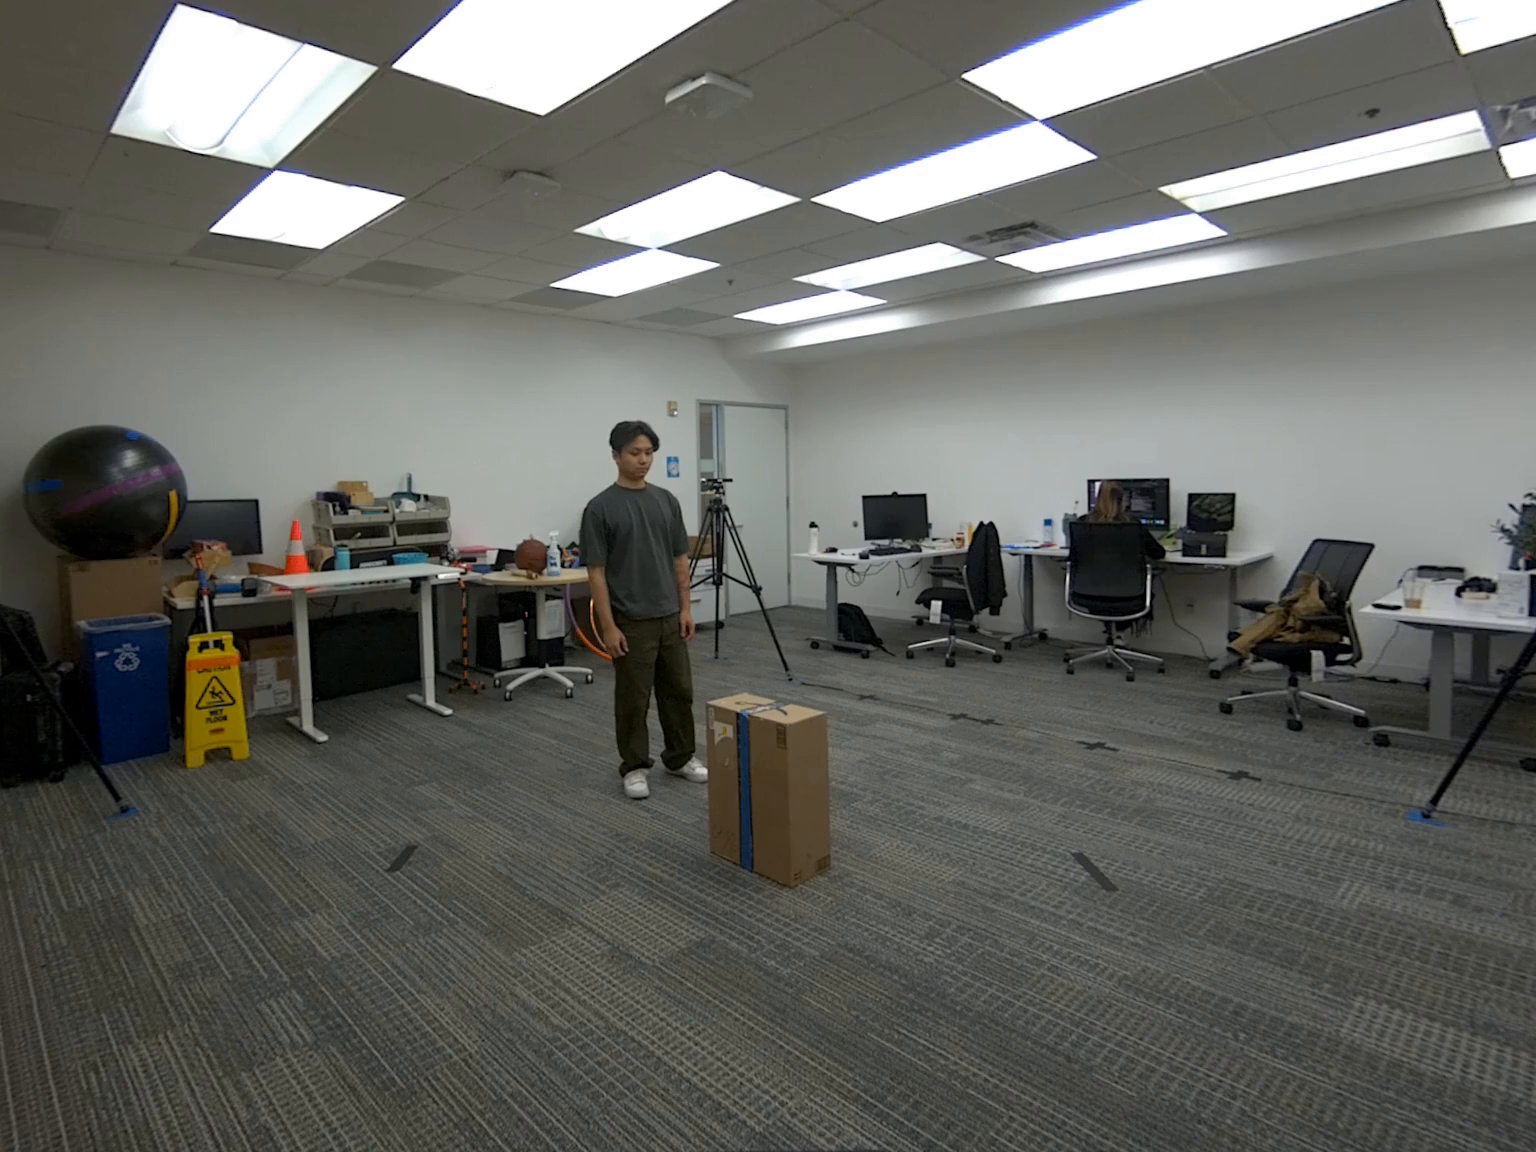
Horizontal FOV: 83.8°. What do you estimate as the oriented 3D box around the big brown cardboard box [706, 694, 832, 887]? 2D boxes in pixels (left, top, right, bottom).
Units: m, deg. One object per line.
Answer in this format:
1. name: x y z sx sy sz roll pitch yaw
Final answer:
1. big brown cardboard box: -0.004 0.756 3.115 0.227 0.587 0.430 -5 5 -44
